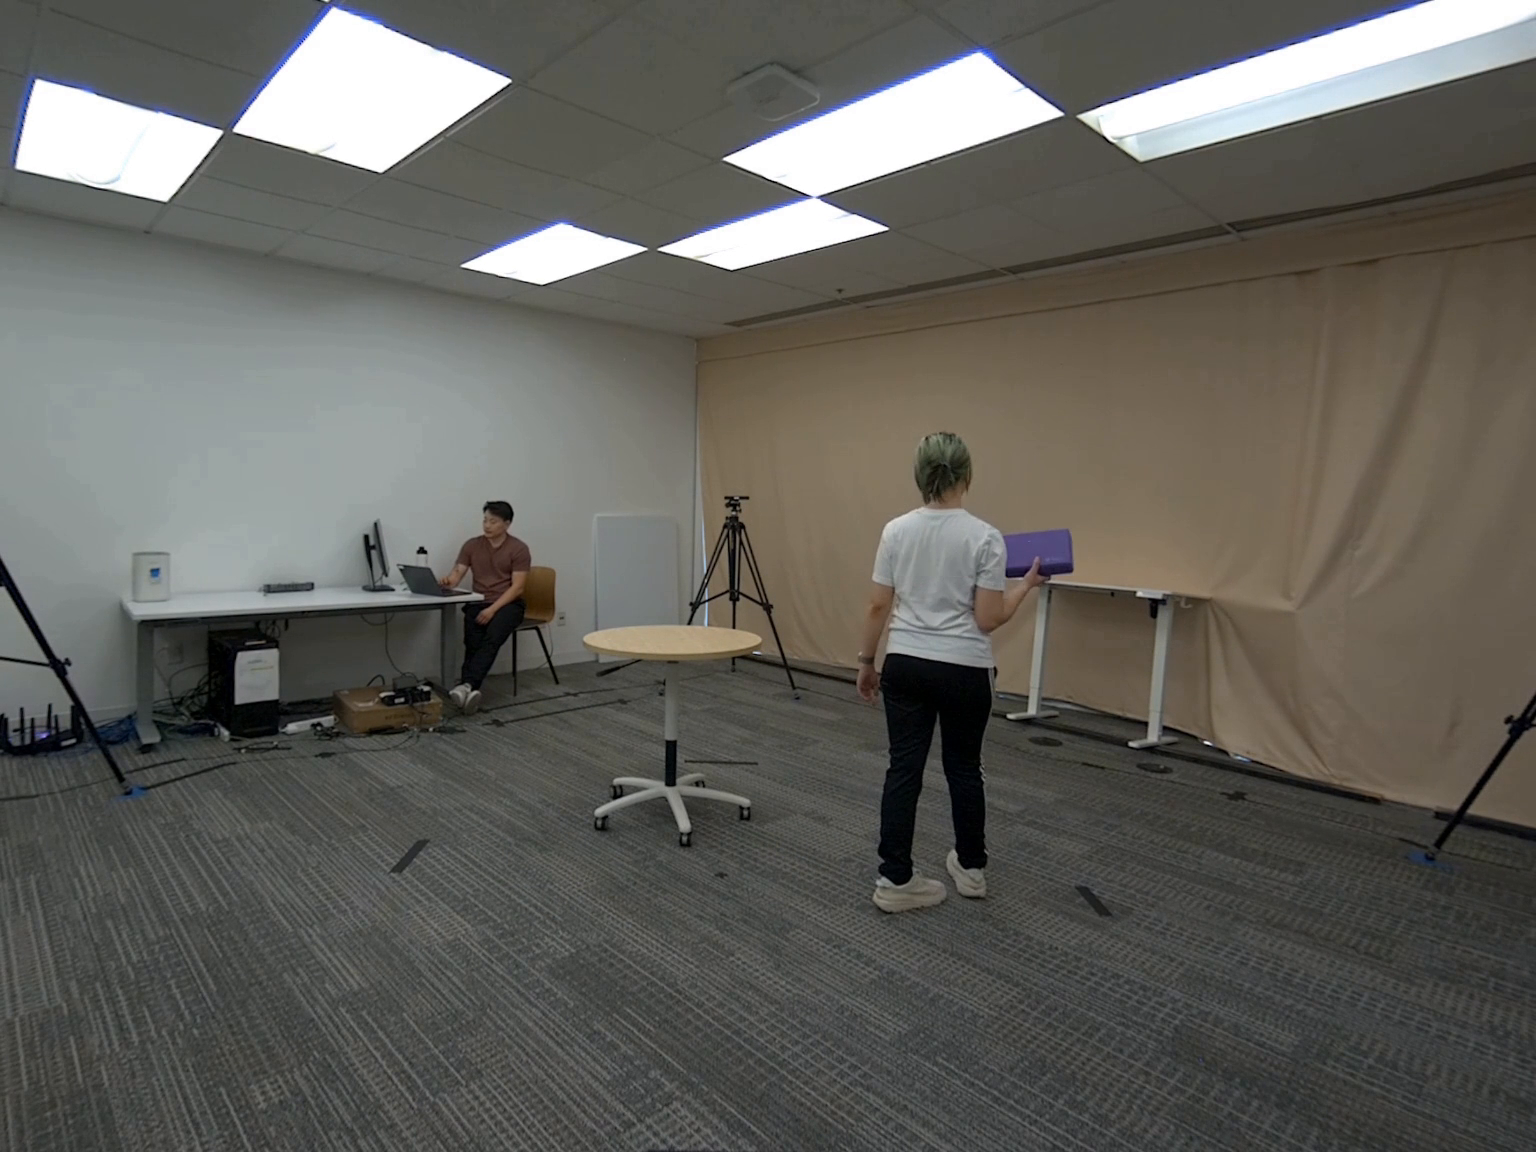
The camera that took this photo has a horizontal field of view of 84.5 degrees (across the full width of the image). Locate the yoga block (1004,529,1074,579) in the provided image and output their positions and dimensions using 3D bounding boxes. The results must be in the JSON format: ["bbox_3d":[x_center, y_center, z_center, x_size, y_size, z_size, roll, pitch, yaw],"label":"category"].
[{"bbox_3d":[0.944,-0.078,2.975,0.233,0.151,0.074,-6,-31,26],"label":"yoga block"}]
